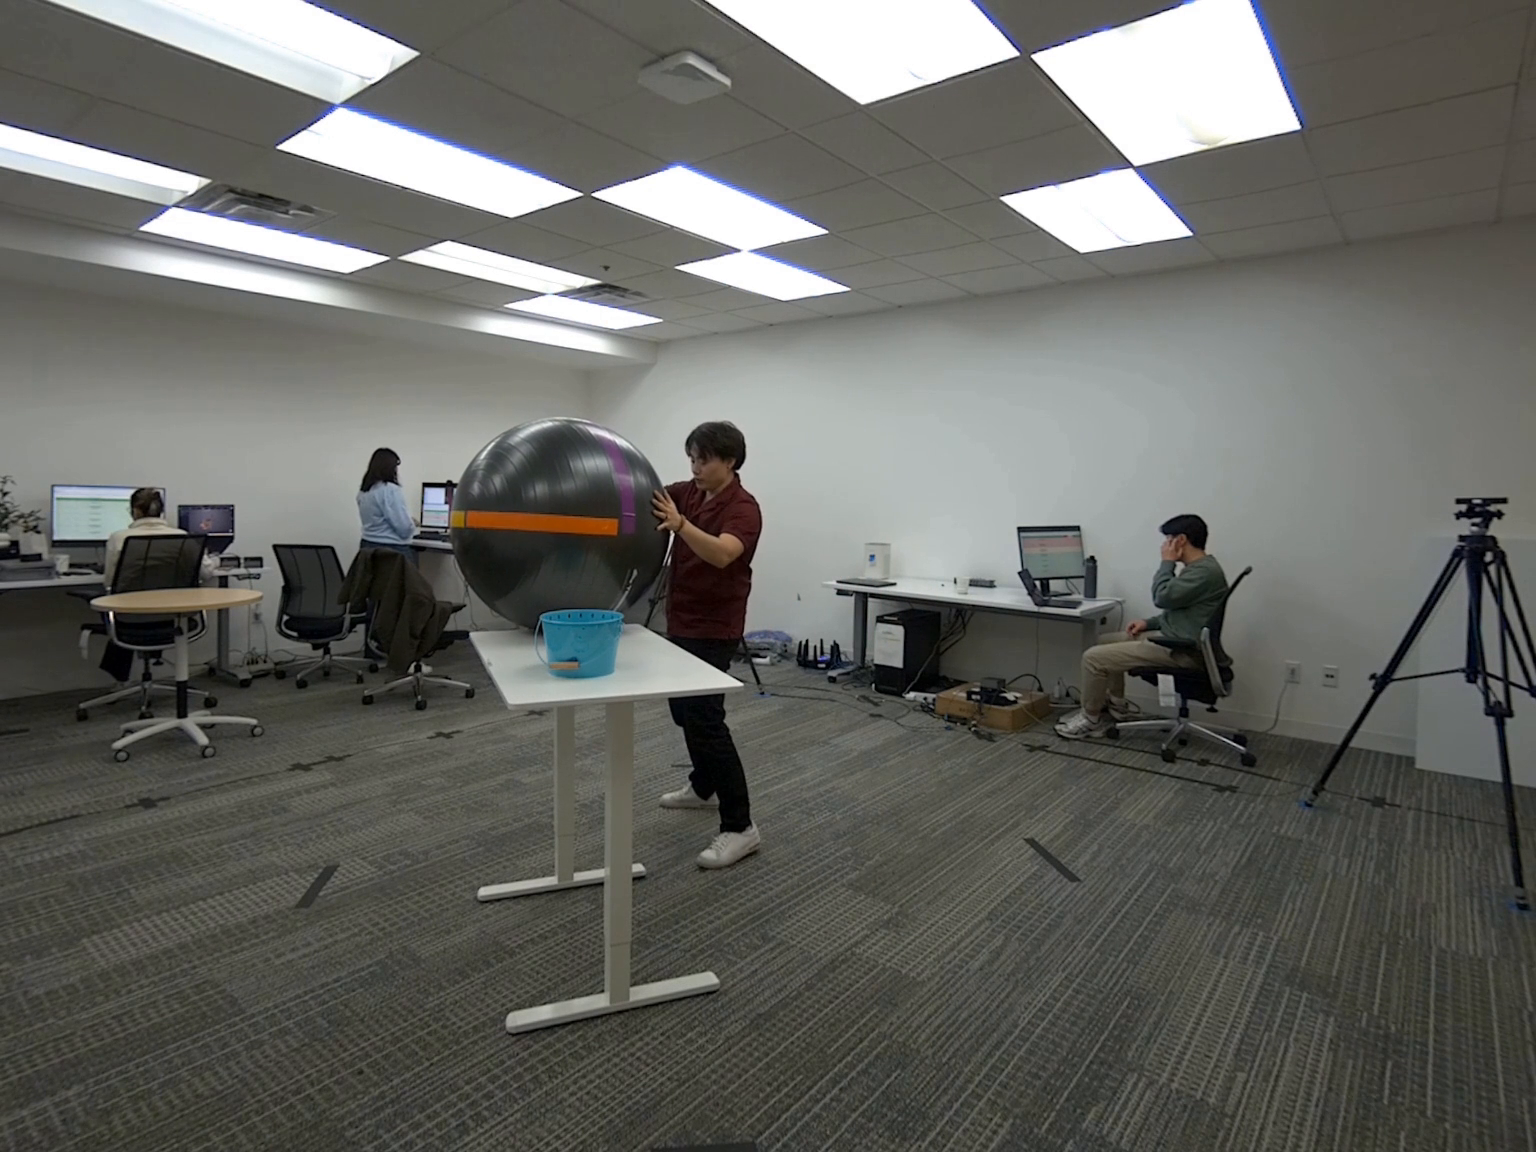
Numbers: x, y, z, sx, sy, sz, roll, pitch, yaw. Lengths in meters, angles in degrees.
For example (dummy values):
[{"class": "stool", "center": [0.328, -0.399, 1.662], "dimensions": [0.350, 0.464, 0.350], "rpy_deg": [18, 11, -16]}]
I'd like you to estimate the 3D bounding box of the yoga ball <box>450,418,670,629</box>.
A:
[{"class": "yoga ball", "center": [-0.742, -0.172, 2.991], "dimensions": [0.757, 0.756, 0.762], "rpy_deg": [1, 4, -2]}]
